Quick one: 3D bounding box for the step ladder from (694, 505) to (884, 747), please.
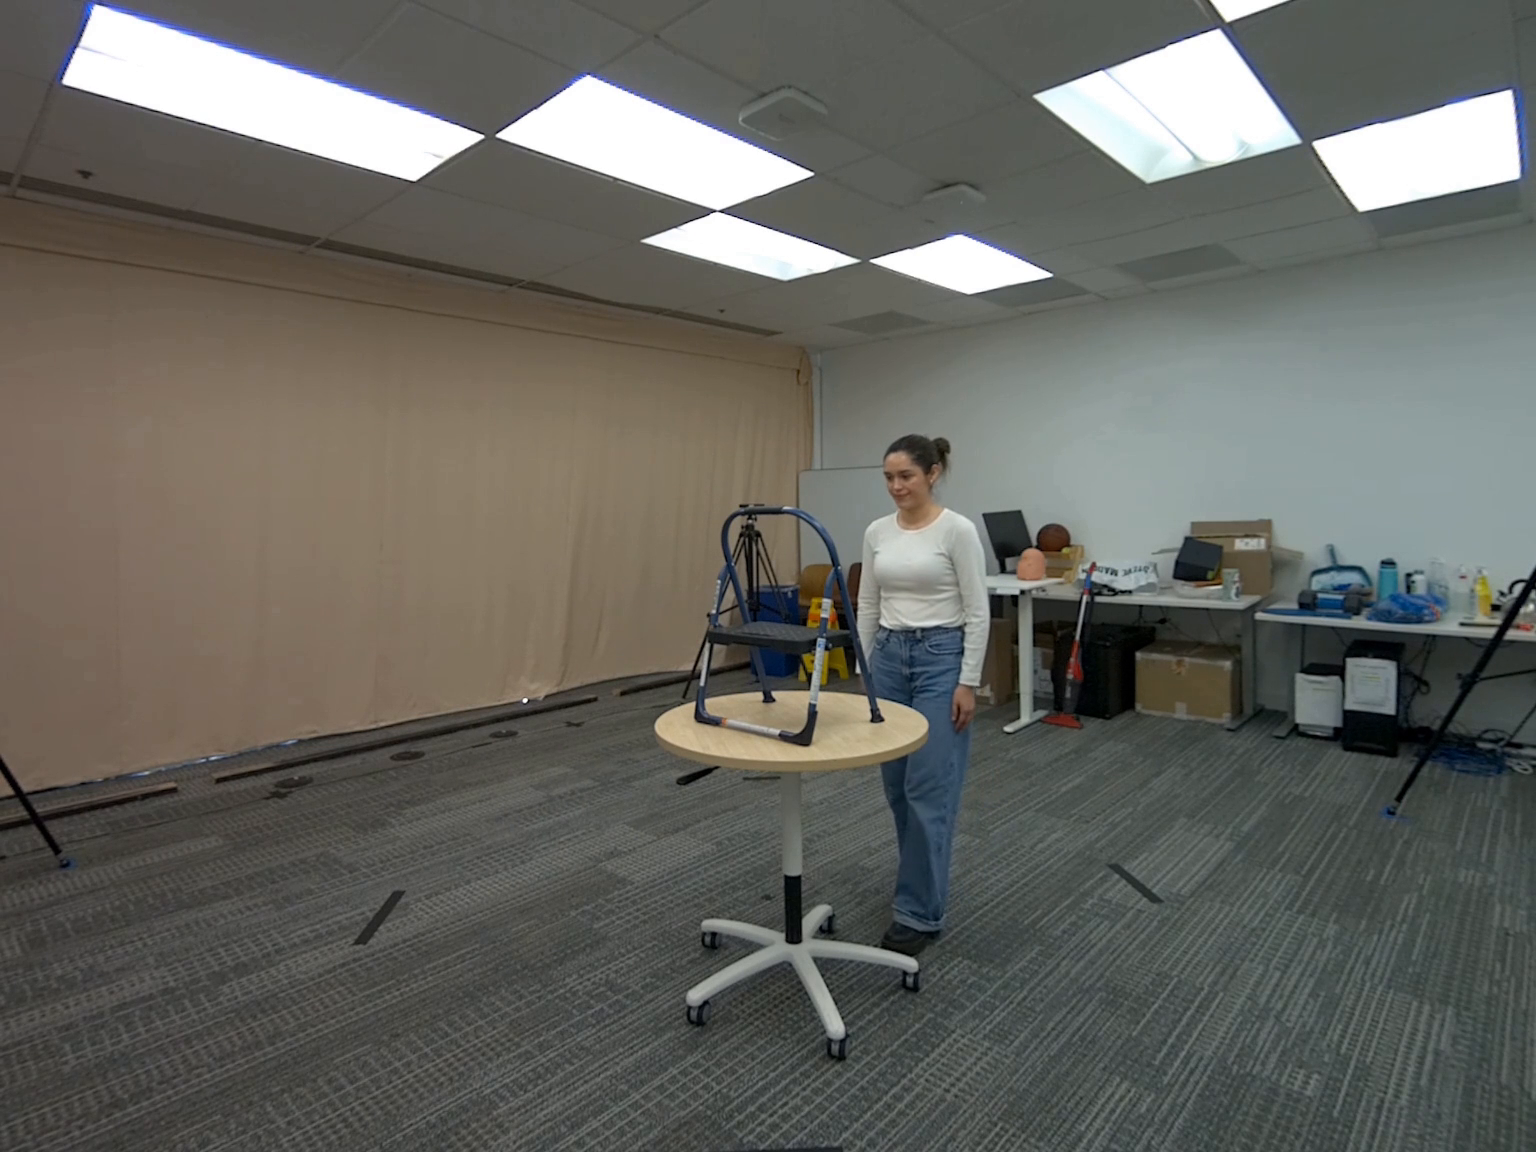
[{"bbox_3d":[0.049,0.109,2.363,0.444,0.605,0.339,1,3,42],"label":"step ladder"}]
